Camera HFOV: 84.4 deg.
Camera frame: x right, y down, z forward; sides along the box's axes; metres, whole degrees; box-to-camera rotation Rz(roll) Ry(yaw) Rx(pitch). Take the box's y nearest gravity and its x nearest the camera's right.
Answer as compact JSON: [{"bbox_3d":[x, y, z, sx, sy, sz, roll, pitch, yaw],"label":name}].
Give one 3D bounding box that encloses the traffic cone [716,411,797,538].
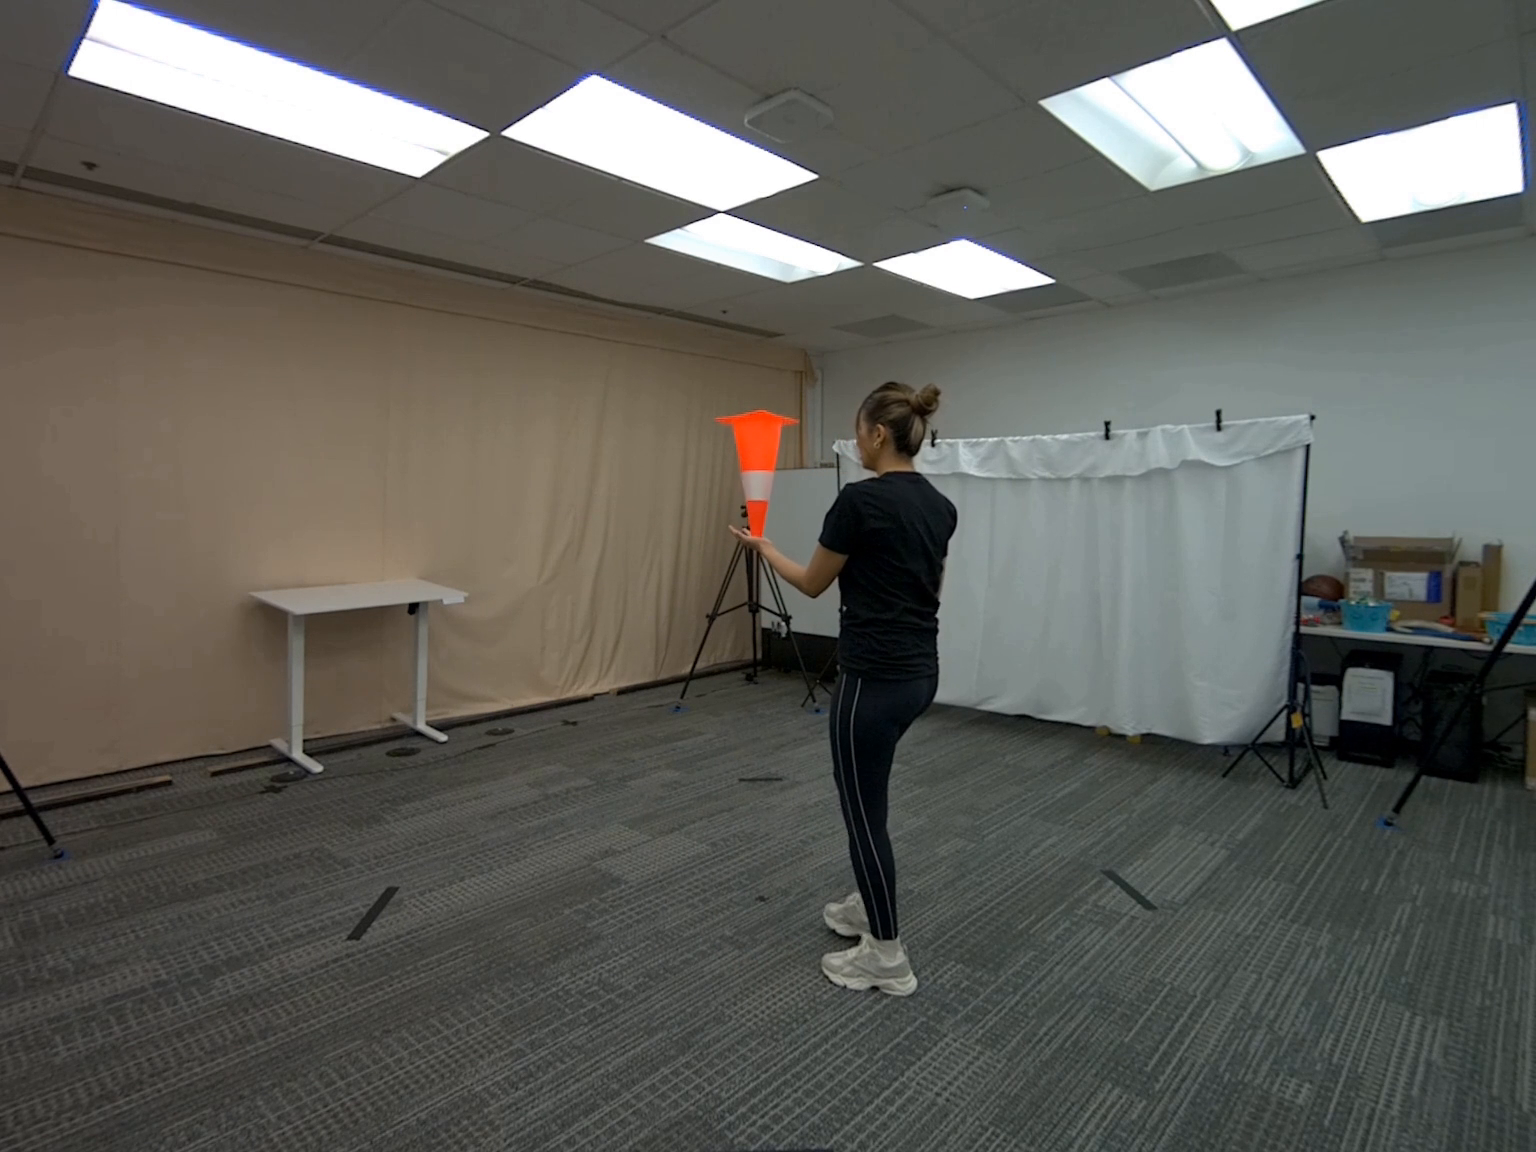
[{"bbox_3d":[-0.034,-0.303,2.646,0.197,0.384,0.211,2,-3,-43],"label":"traffic cone"}]
